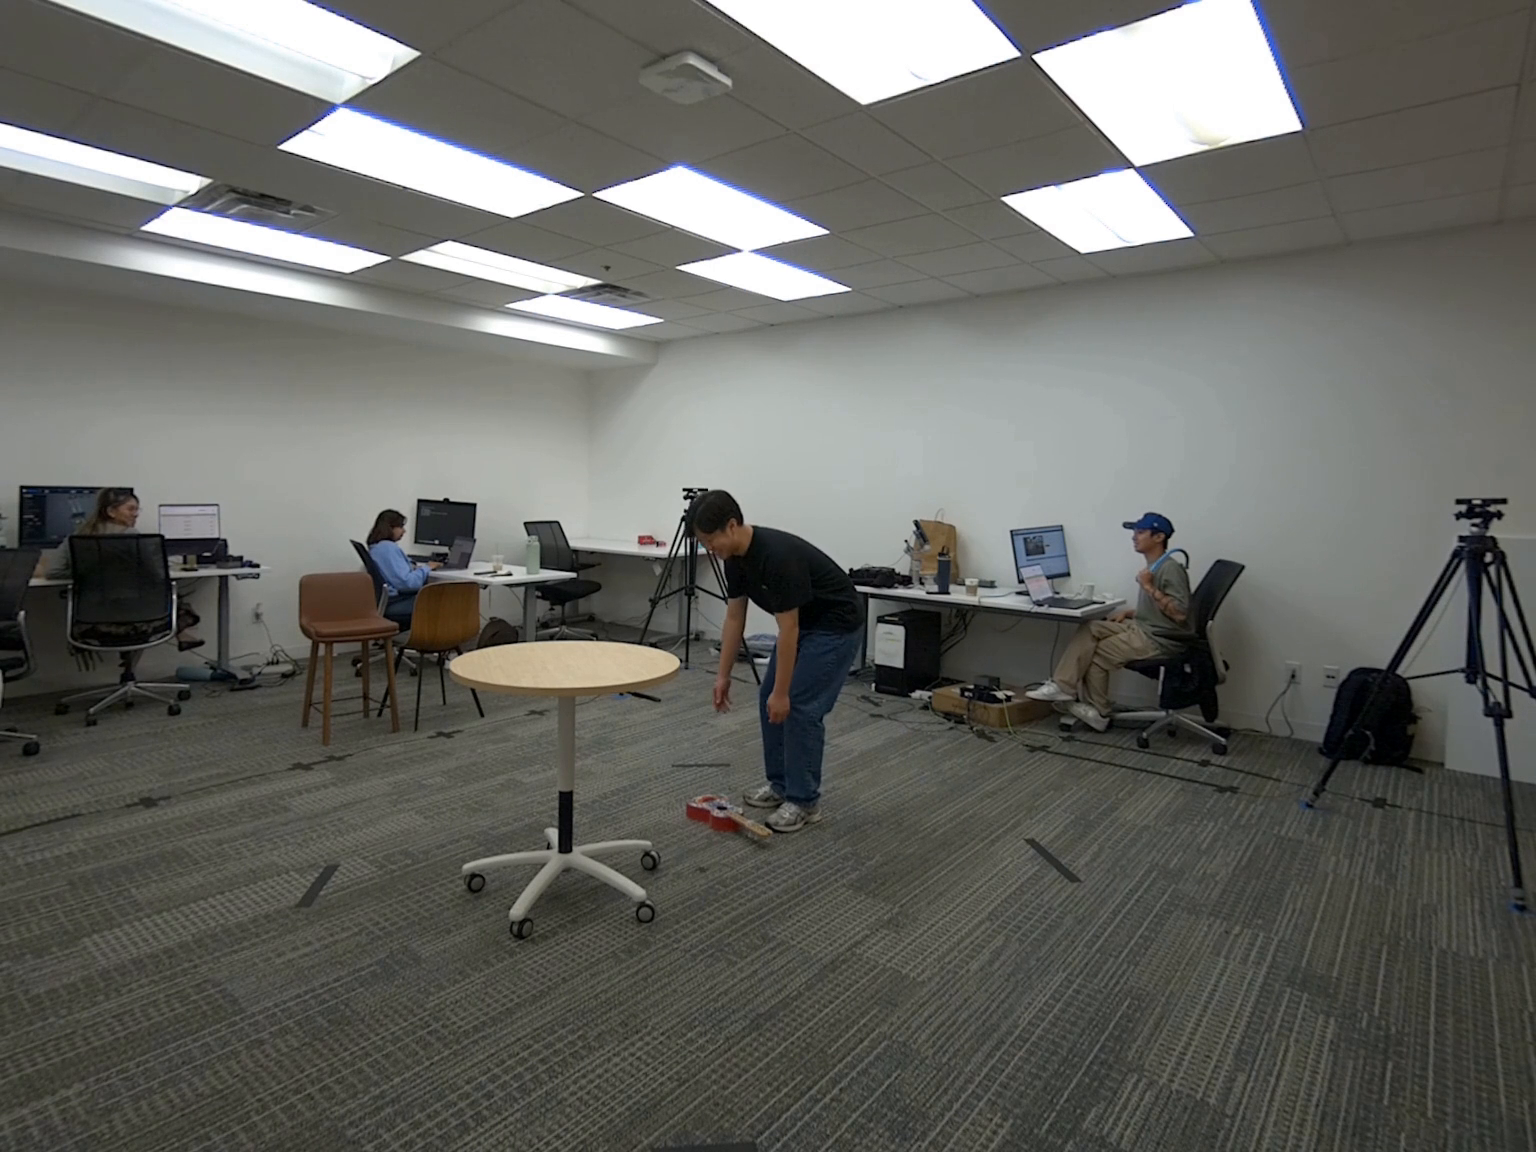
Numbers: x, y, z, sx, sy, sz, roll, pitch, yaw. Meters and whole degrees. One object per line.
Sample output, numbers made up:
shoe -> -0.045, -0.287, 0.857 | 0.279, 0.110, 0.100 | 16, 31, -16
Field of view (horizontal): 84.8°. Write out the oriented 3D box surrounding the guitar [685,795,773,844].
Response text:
guitar -> -0.179, 0.999, 3.482 | 0.188, 0.070, 0.512 | -1, 6, -27
